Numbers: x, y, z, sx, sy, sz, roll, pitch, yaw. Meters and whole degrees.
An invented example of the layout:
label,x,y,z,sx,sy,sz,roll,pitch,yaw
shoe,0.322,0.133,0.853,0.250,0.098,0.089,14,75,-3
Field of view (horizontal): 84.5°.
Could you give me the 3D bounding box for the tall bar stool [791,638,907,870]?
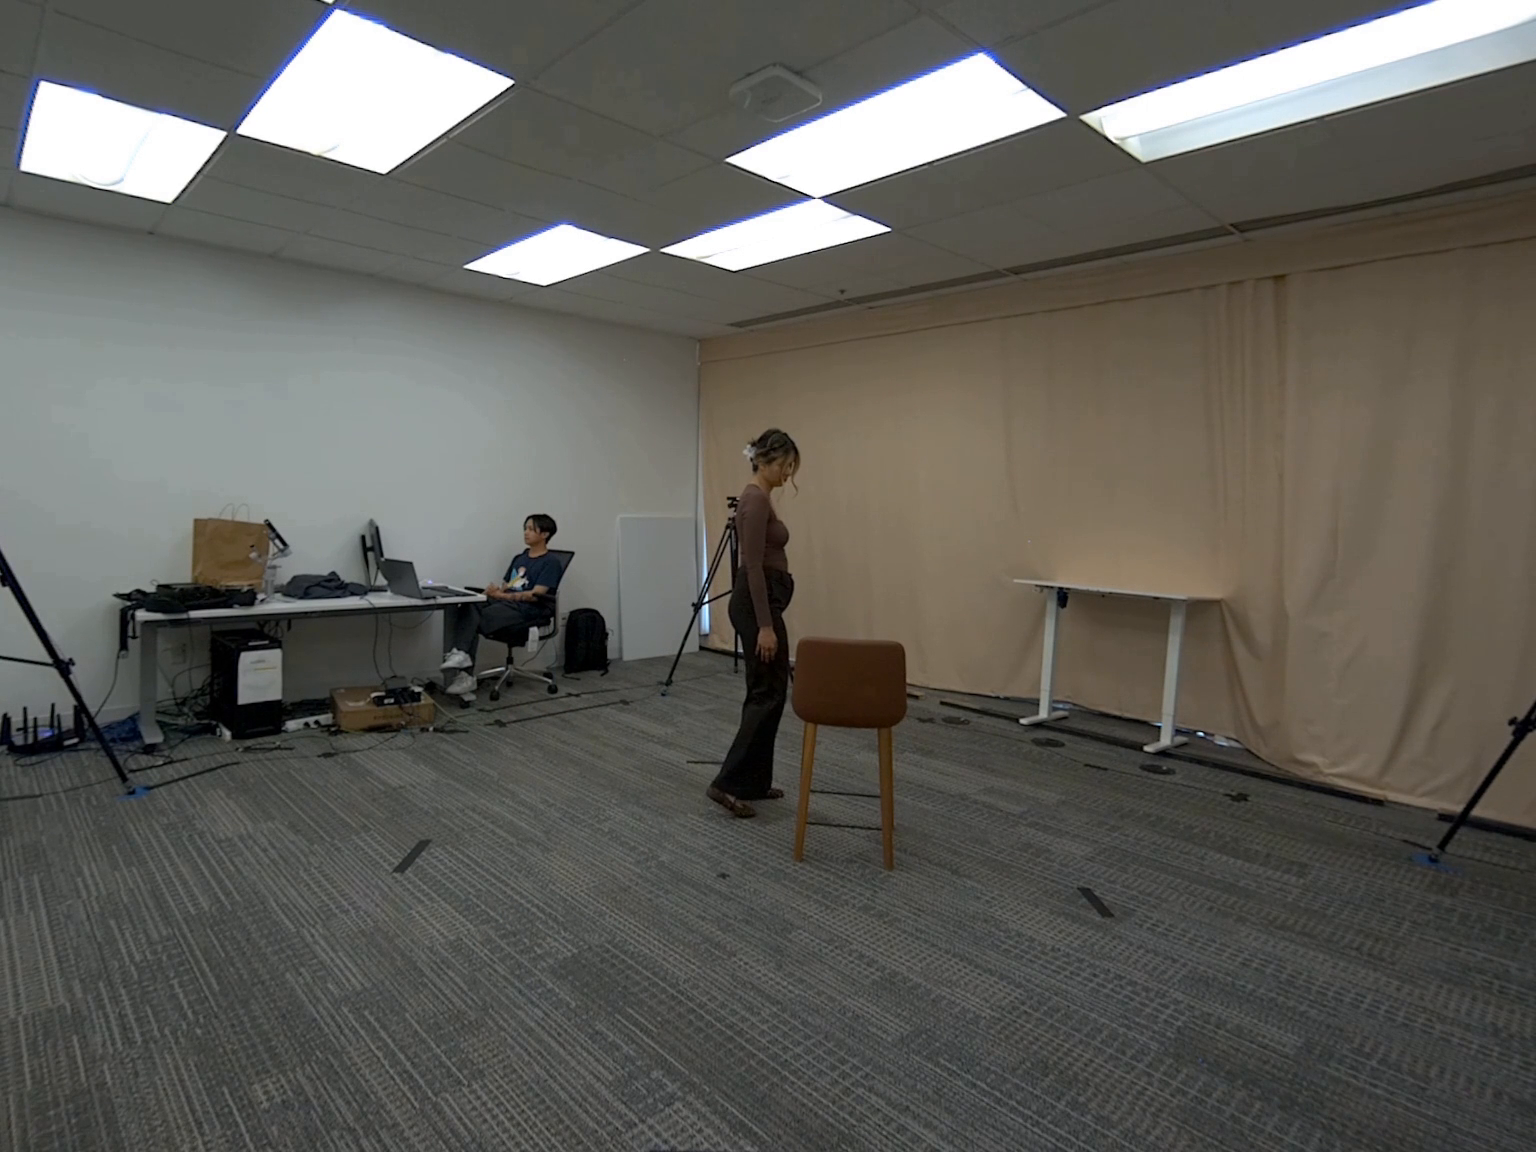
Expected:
label,x,y,z,sx,sy,sz,roll,pitch,yaw
tall bar stool,0.319,0.655,3.403,0.460,0.887,0.465,2,4,8
